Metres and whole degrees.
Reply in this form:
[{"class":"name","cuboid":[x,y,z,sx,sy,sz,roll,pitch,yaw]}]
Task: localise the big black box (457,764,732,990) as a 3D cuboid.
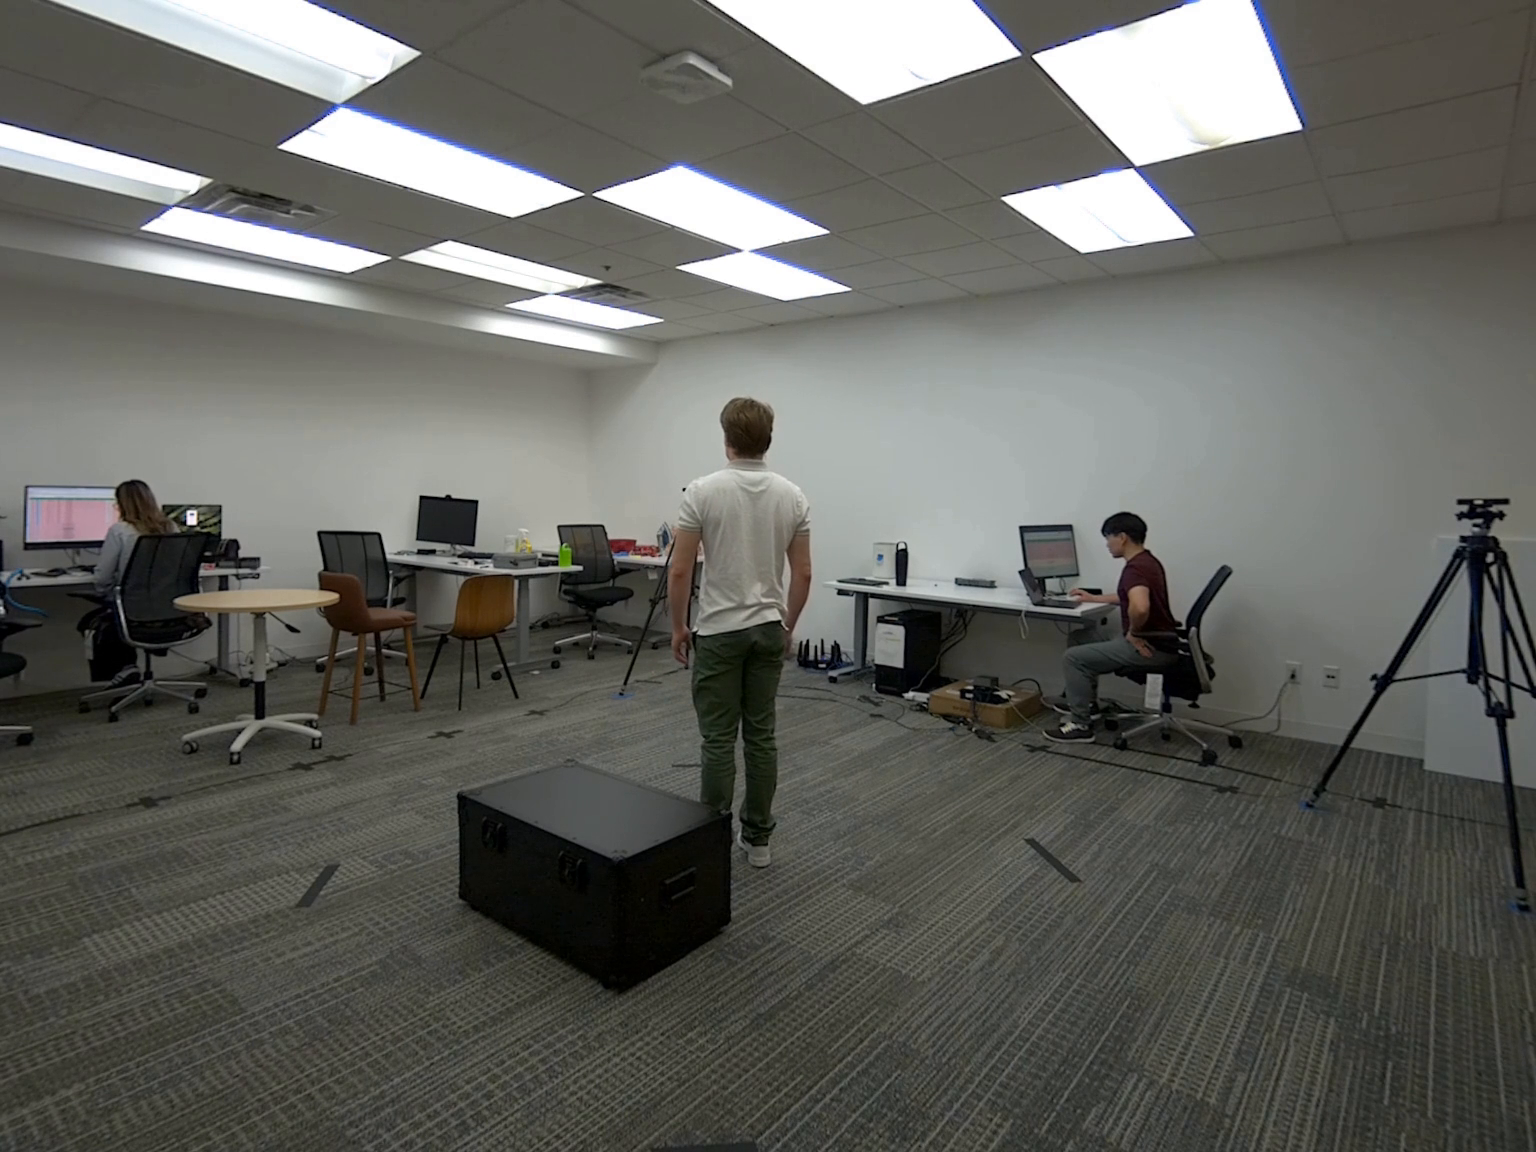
[{"class":"big black box","cuboid":[-0.602,0.902,2.763,0.897,0.383,0.508,5,7,40]}]
